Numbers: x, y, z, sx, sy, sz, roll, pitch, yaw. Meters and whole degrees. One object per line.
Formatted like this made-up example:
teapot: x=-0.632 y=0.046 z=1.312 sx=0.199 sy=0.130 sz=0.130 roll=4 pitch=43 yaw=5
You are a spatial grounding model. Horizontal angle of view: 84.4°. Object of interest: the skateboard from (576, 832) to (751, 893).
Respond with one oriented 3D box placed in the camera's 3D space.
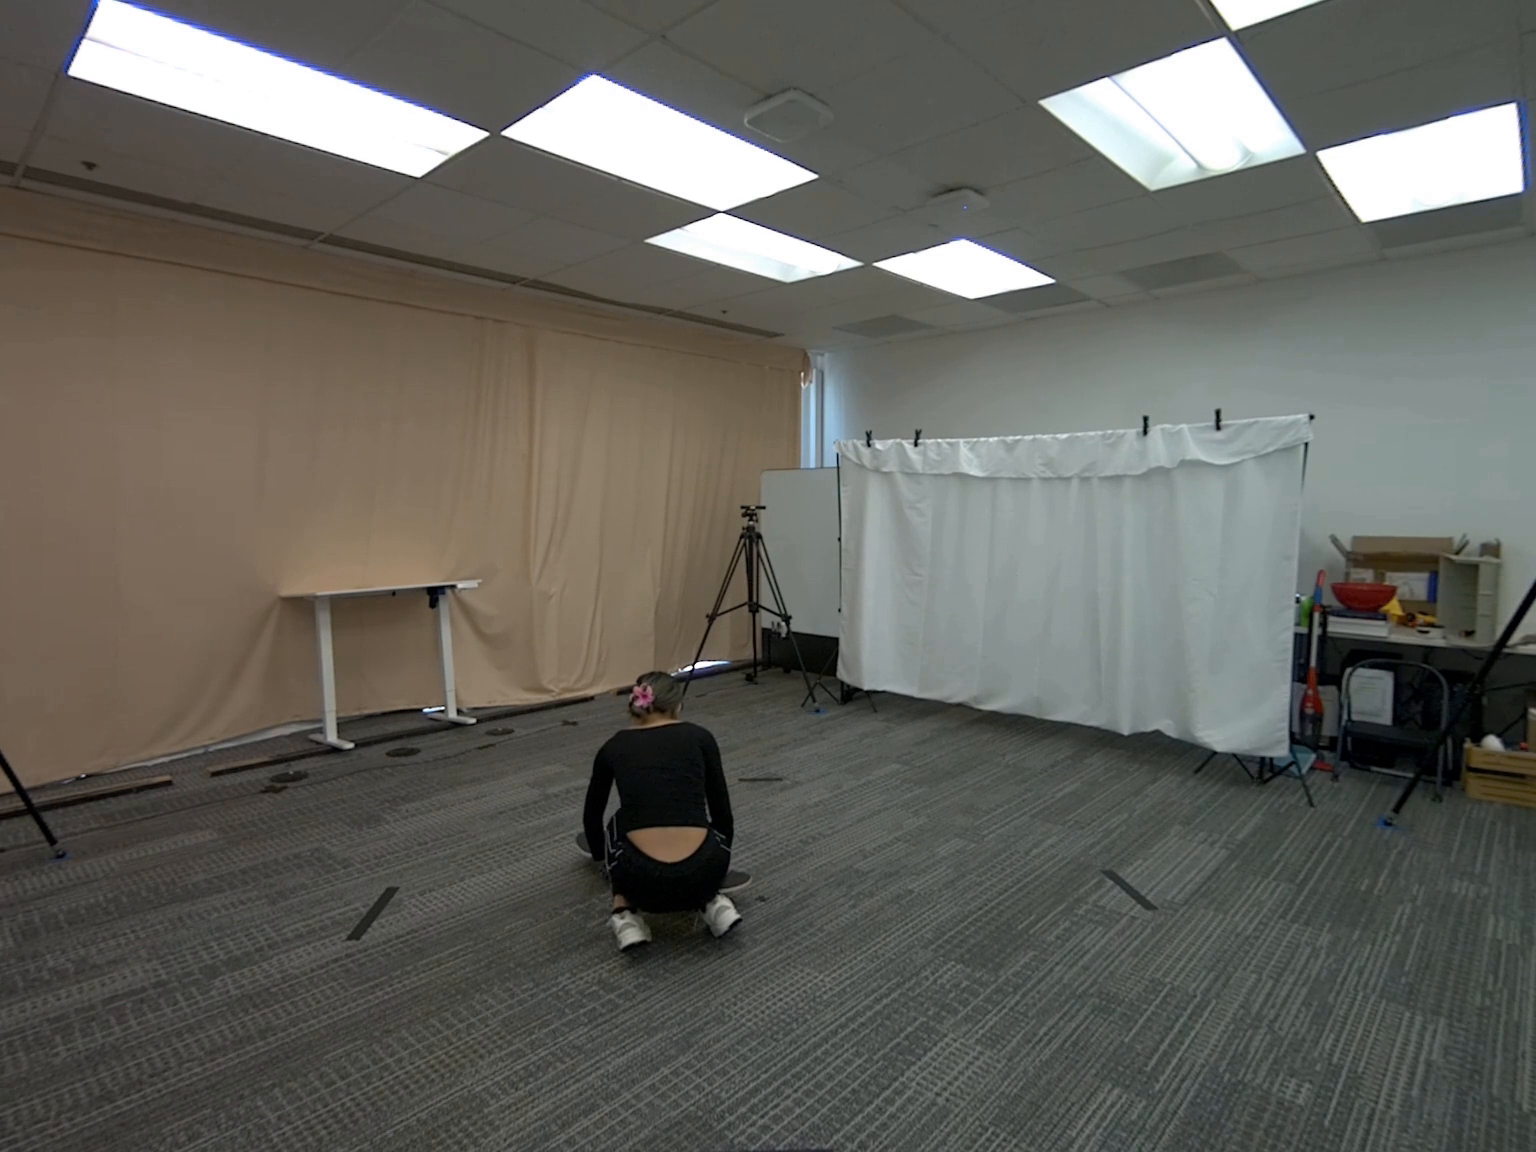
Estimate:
skateboard: x=-0.393 y=1.075 z=3.095 sx=0.809 sy=0.110 sz=0.188 roll=2 pitch=5 yaw=33
